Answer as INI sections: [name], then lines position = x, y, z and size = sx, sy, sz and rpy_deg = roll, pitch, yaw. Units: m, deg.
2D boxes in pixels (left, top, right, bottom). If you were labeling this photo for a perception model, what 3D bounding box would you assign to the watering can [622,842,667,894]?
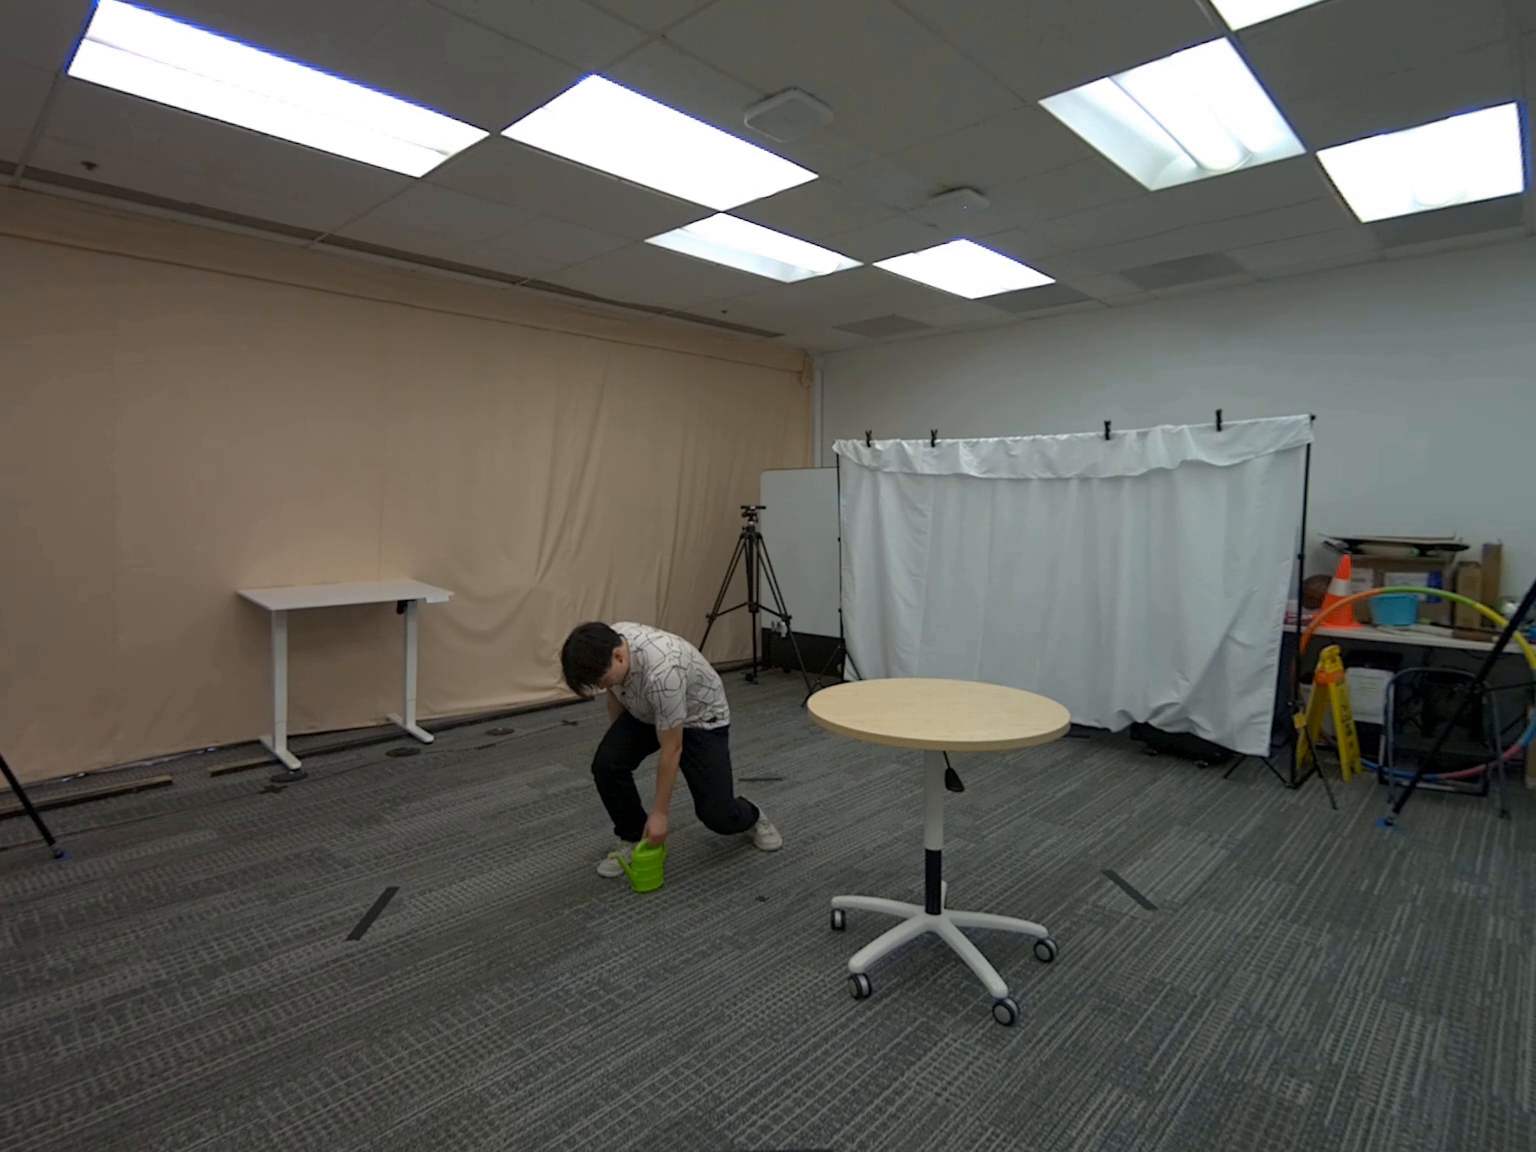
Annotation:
[watering can]
position = -0.479, 1.053, 3.060
size = 0.270, 0.176, 0.101
rpy_deg = -1, 3, -36
